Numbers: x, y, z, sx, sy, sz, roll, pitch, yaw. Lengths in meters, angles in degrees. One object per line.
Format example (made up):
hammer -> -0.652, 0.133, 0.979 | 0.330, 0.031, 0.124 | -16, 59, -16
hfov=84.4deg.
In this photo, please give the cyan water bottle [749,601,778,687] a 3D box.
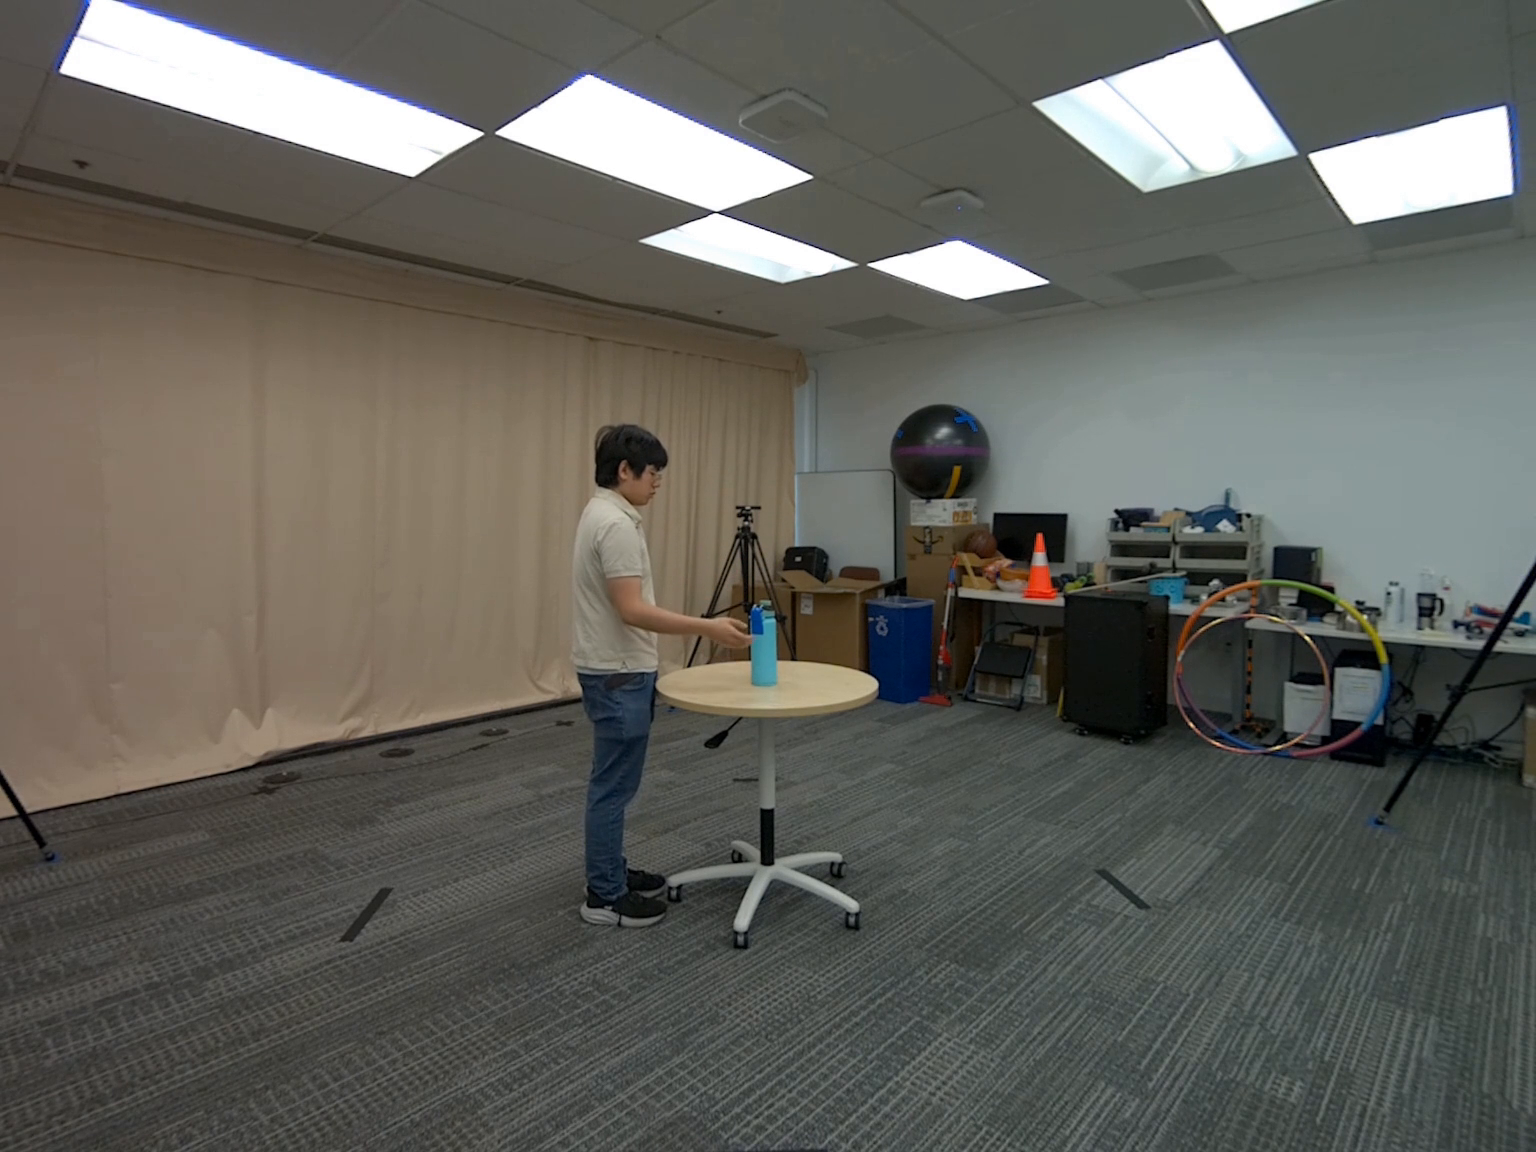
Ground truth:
cyan water bottle -> -0.012, 0.232, 2.870 | 0.092, 0.282, 0.093 | -2, 5, -2
